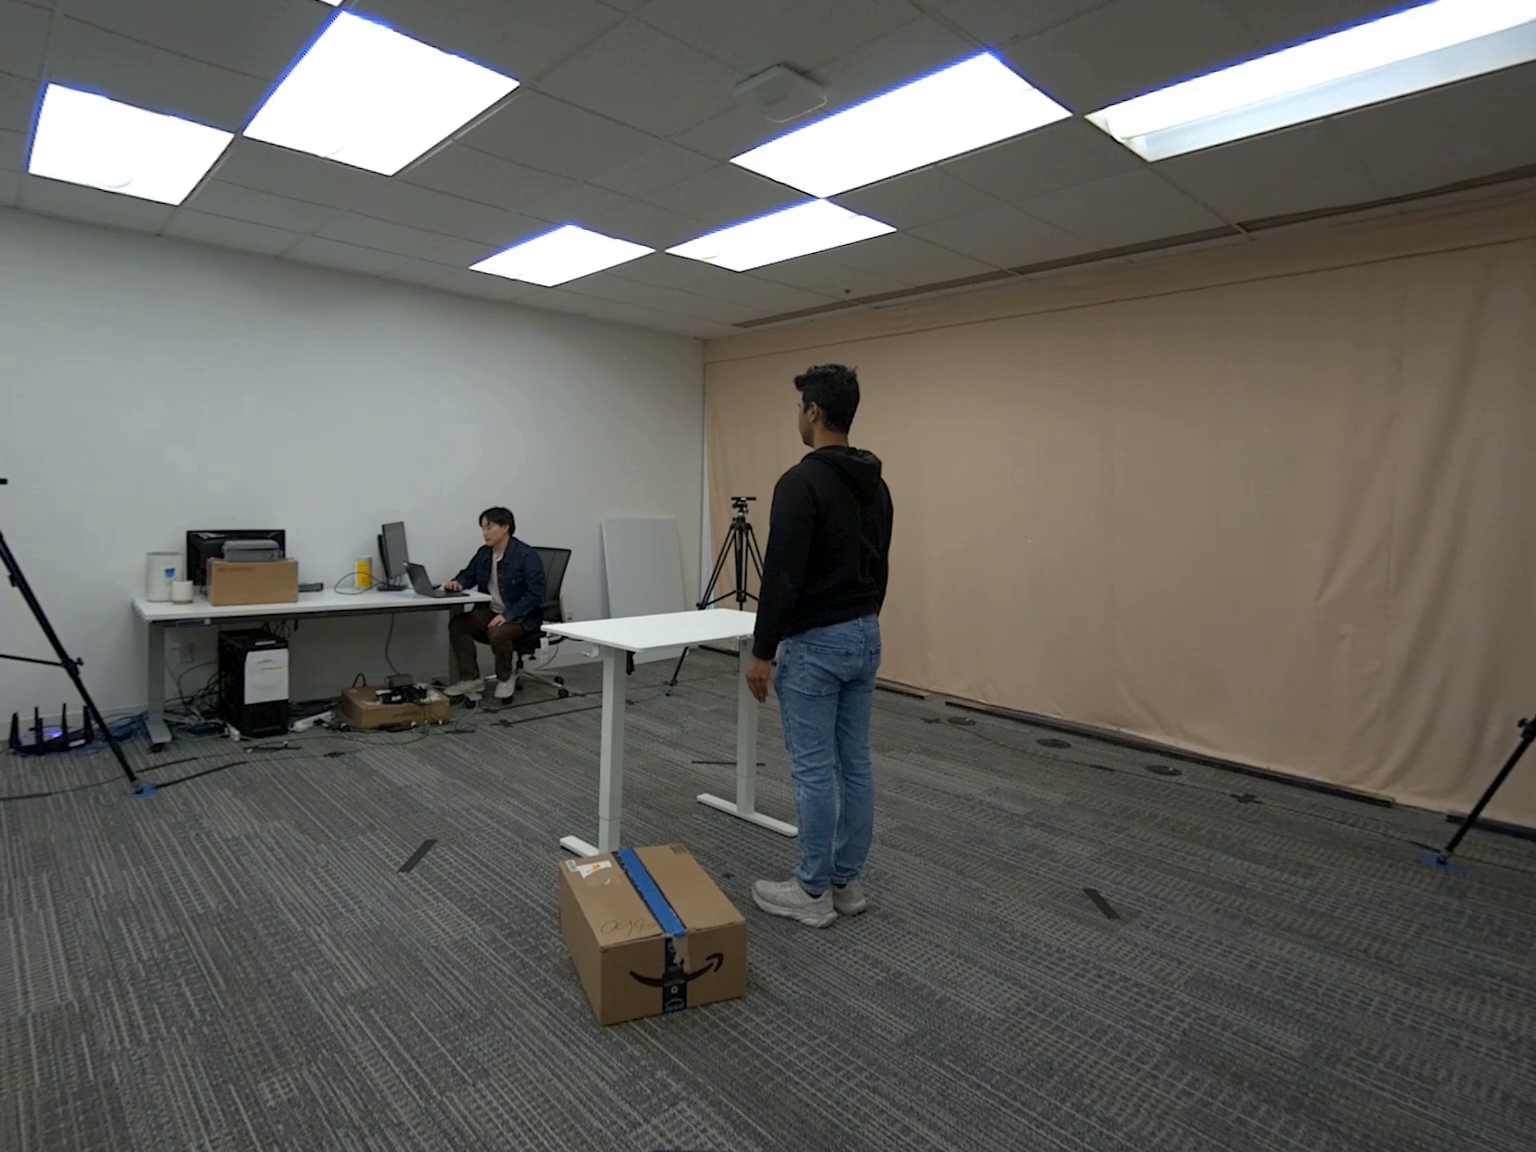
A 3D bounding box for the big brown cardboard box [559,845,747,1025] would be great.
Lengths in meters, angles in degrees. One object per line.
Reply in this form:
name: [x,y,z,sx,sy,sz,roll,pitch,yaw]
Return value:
big brown cardboard box: [-0.374,1.046,2.525,0.410,0.232,0.601,-1,6,-24]
